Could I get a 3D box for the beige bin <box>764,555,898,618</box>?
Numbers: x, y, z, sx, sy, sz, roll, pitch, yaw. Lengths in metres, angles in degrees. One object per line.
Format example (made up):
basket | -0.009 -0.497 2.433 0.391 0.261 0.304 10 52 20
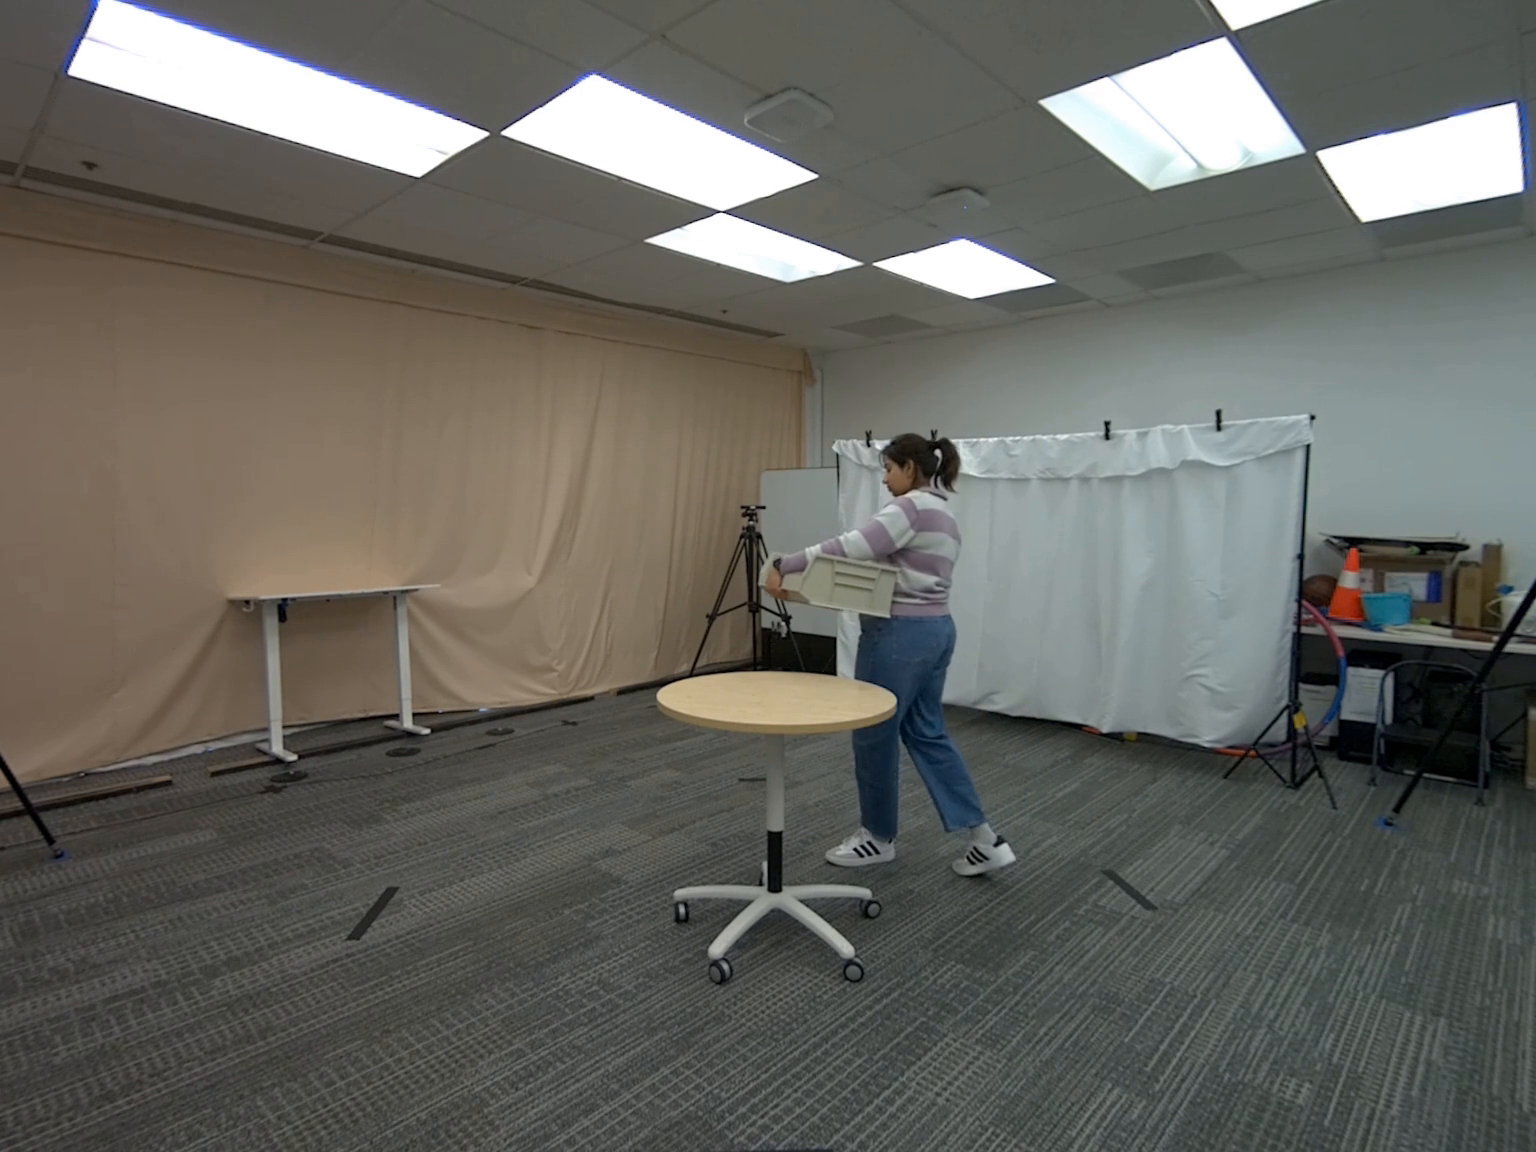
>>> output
beige bin | 0.220 0.038 3.125 0.370 0.189 0.430 12 -3 -19
